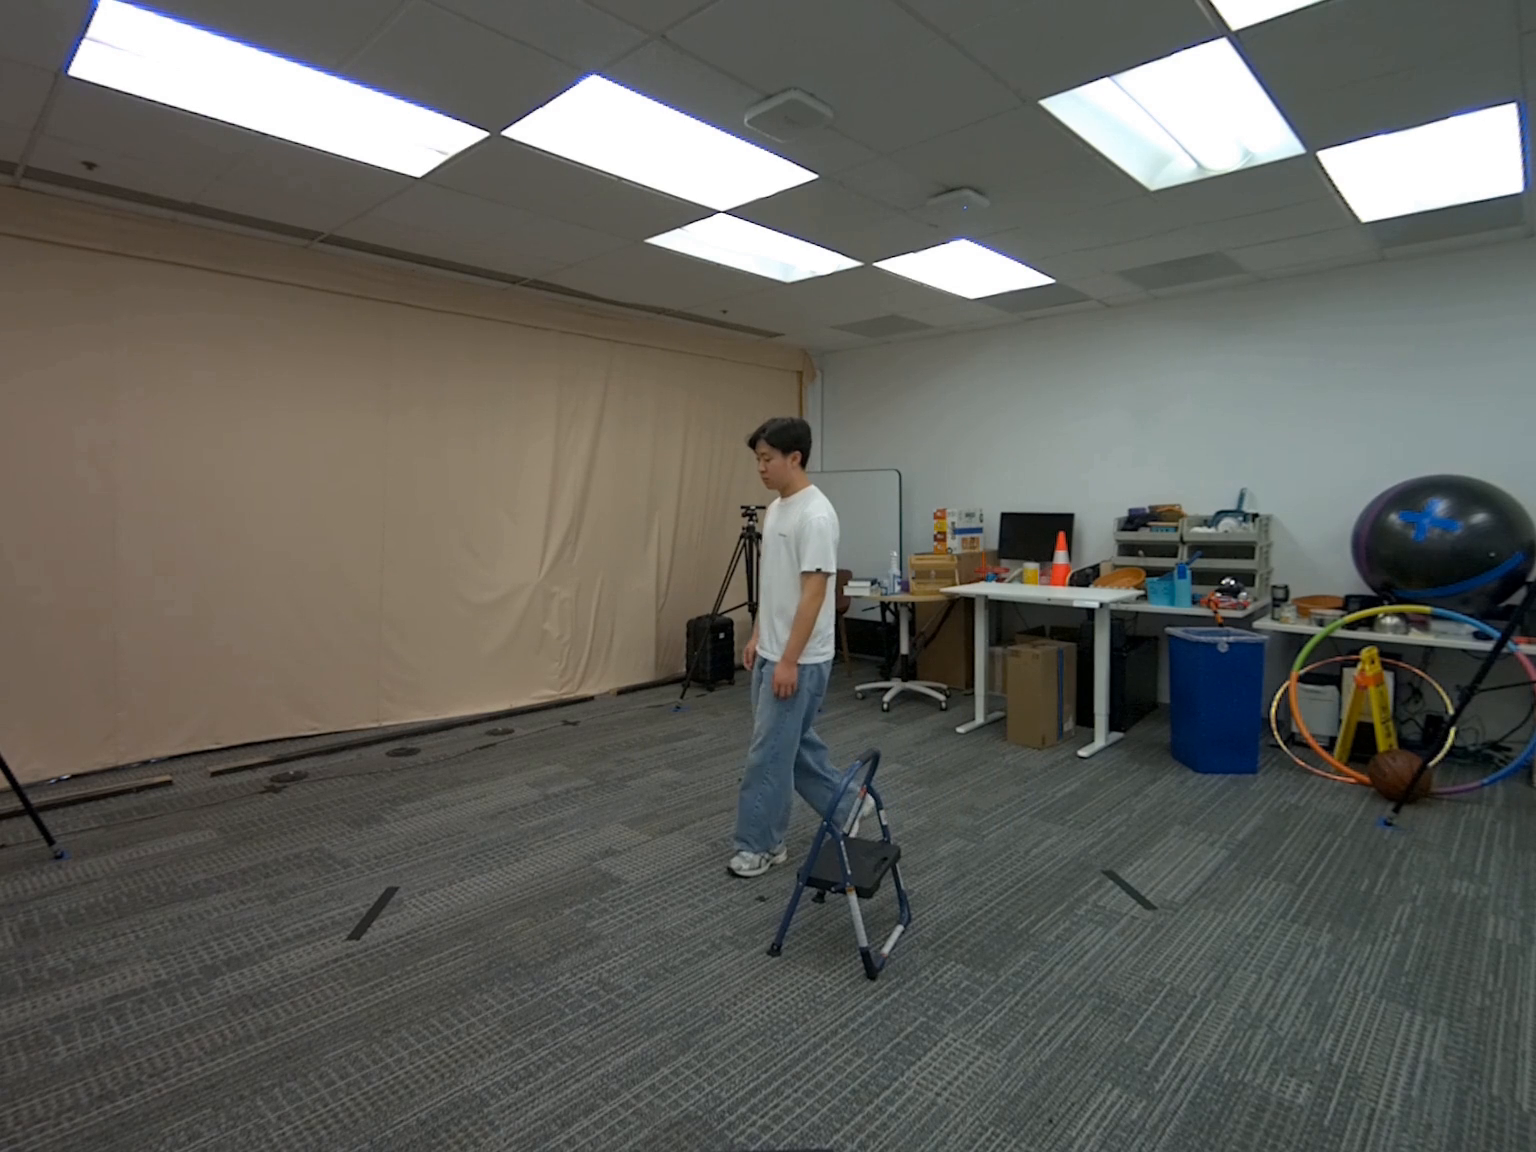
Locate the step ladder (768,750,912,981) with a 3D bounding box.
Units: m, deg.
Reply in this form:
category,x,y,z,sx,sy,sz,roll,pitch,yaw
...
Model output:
category,x,y,z,sx,sy,sz,roll,pitch,yaw
step ladder,0.244,0.862,2.700,0.358,0.604,0.421,2,5,25
